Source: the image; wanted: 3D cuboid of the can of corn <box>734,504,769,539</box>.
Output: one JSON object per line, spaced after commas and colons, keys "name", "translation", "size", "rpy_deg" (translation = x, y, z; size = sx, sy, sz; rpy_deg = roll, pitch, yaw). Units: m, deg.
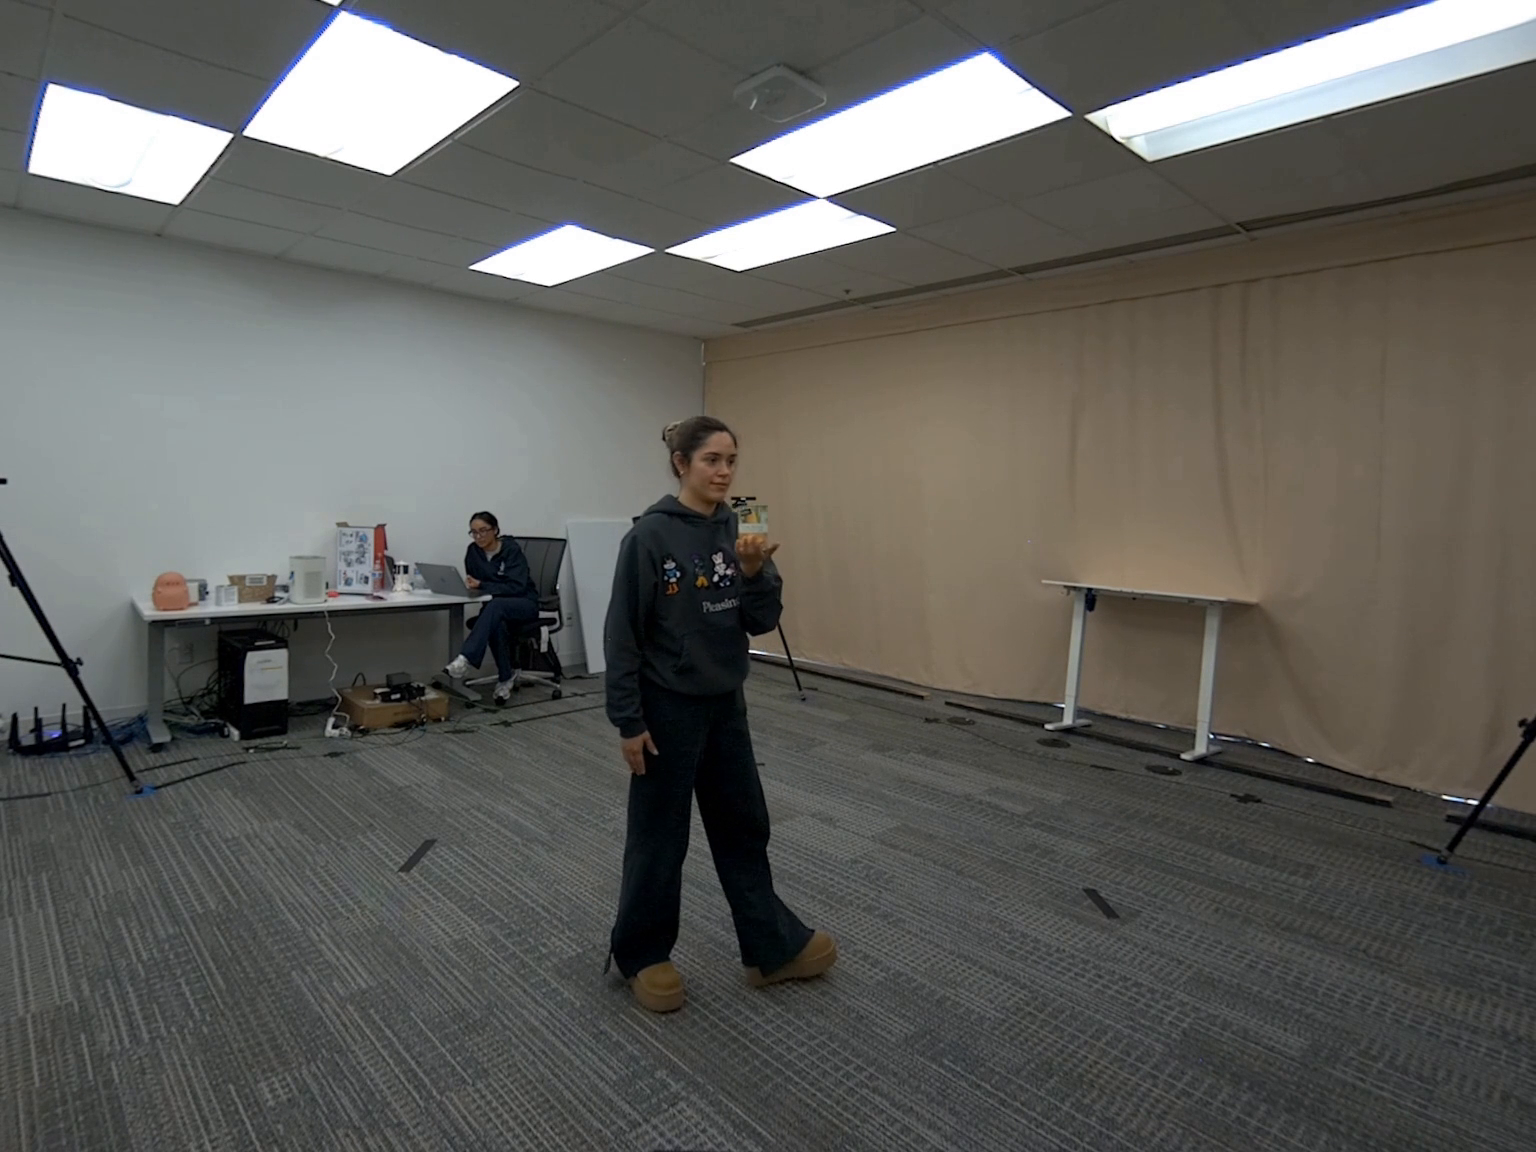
{"name": "can of corn", "translation": [-0.041, -0.117, 2.093], "size": [0.074, 0.111, 0.074], "rpy_deg": [-2, -3, -1]}
